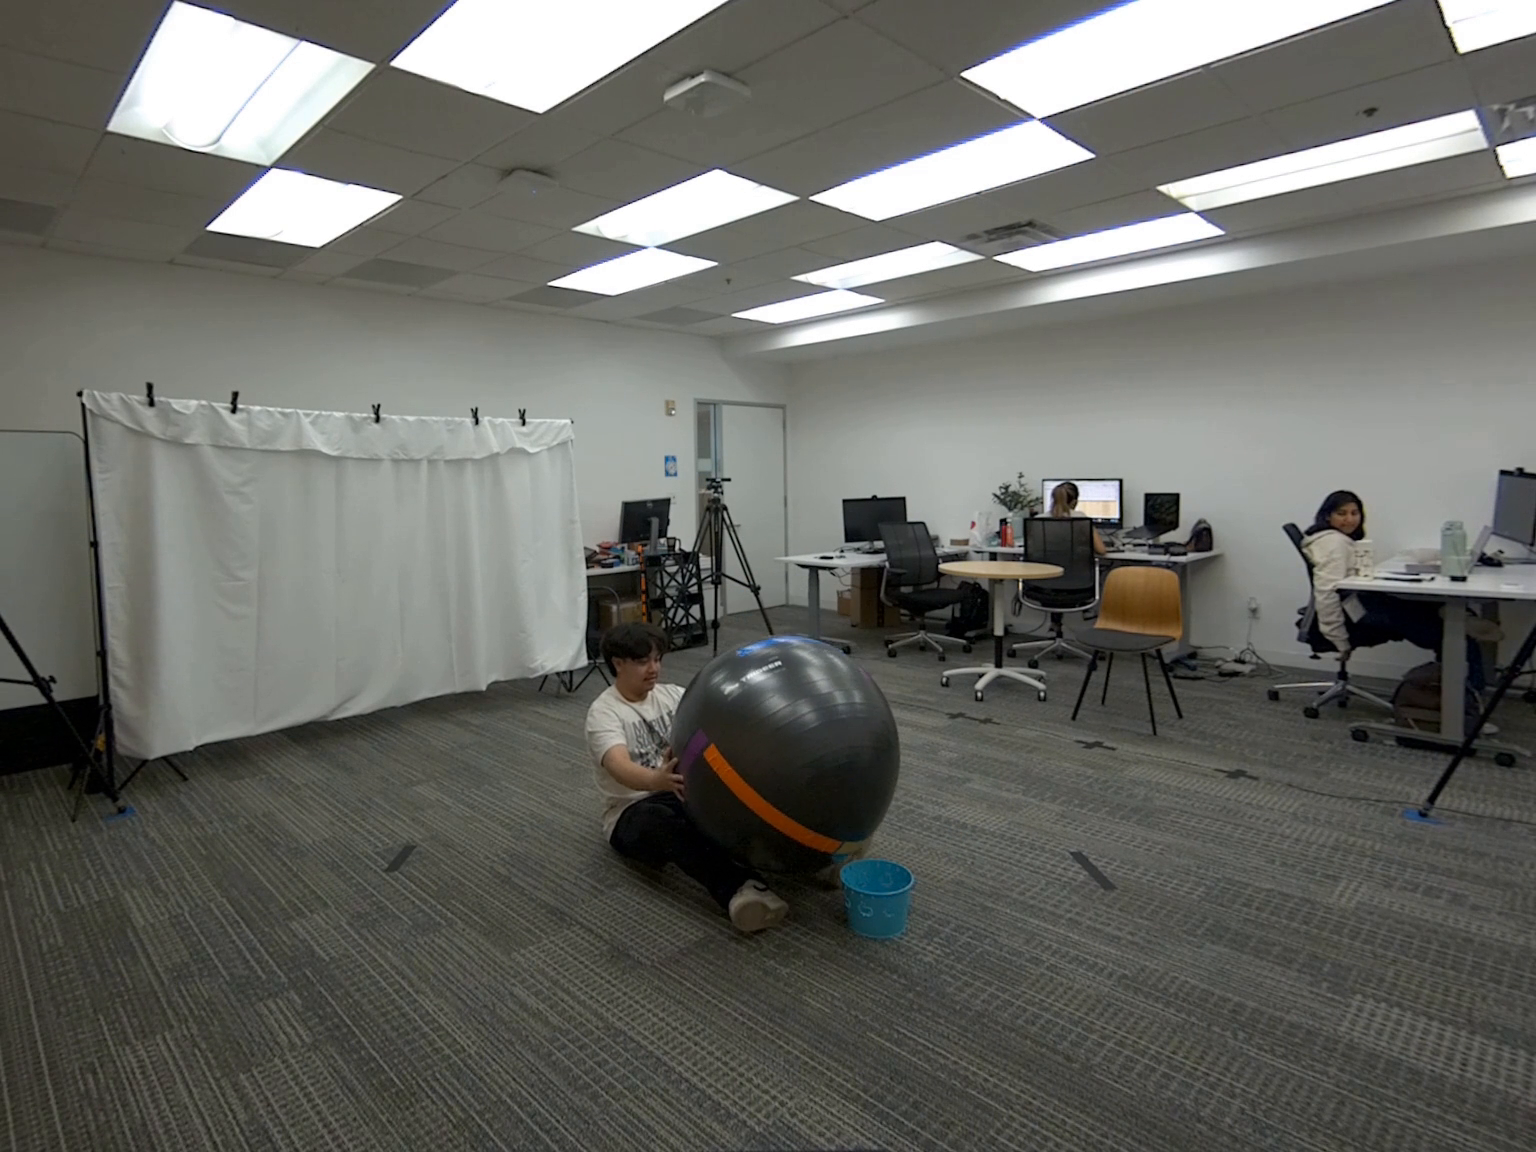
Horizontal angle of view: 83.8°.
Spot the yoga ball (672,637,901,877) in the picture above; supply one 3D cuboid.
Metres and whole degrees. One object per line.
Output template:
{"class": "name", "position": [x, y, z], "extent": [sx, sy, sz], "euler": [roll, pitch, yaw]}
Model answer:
{"class": "yoga ball", "position": [0.055, 0.569, 2.824], "extent": [0.757, 0.755, 0.762], "euler": [-1, 5, -2]}
